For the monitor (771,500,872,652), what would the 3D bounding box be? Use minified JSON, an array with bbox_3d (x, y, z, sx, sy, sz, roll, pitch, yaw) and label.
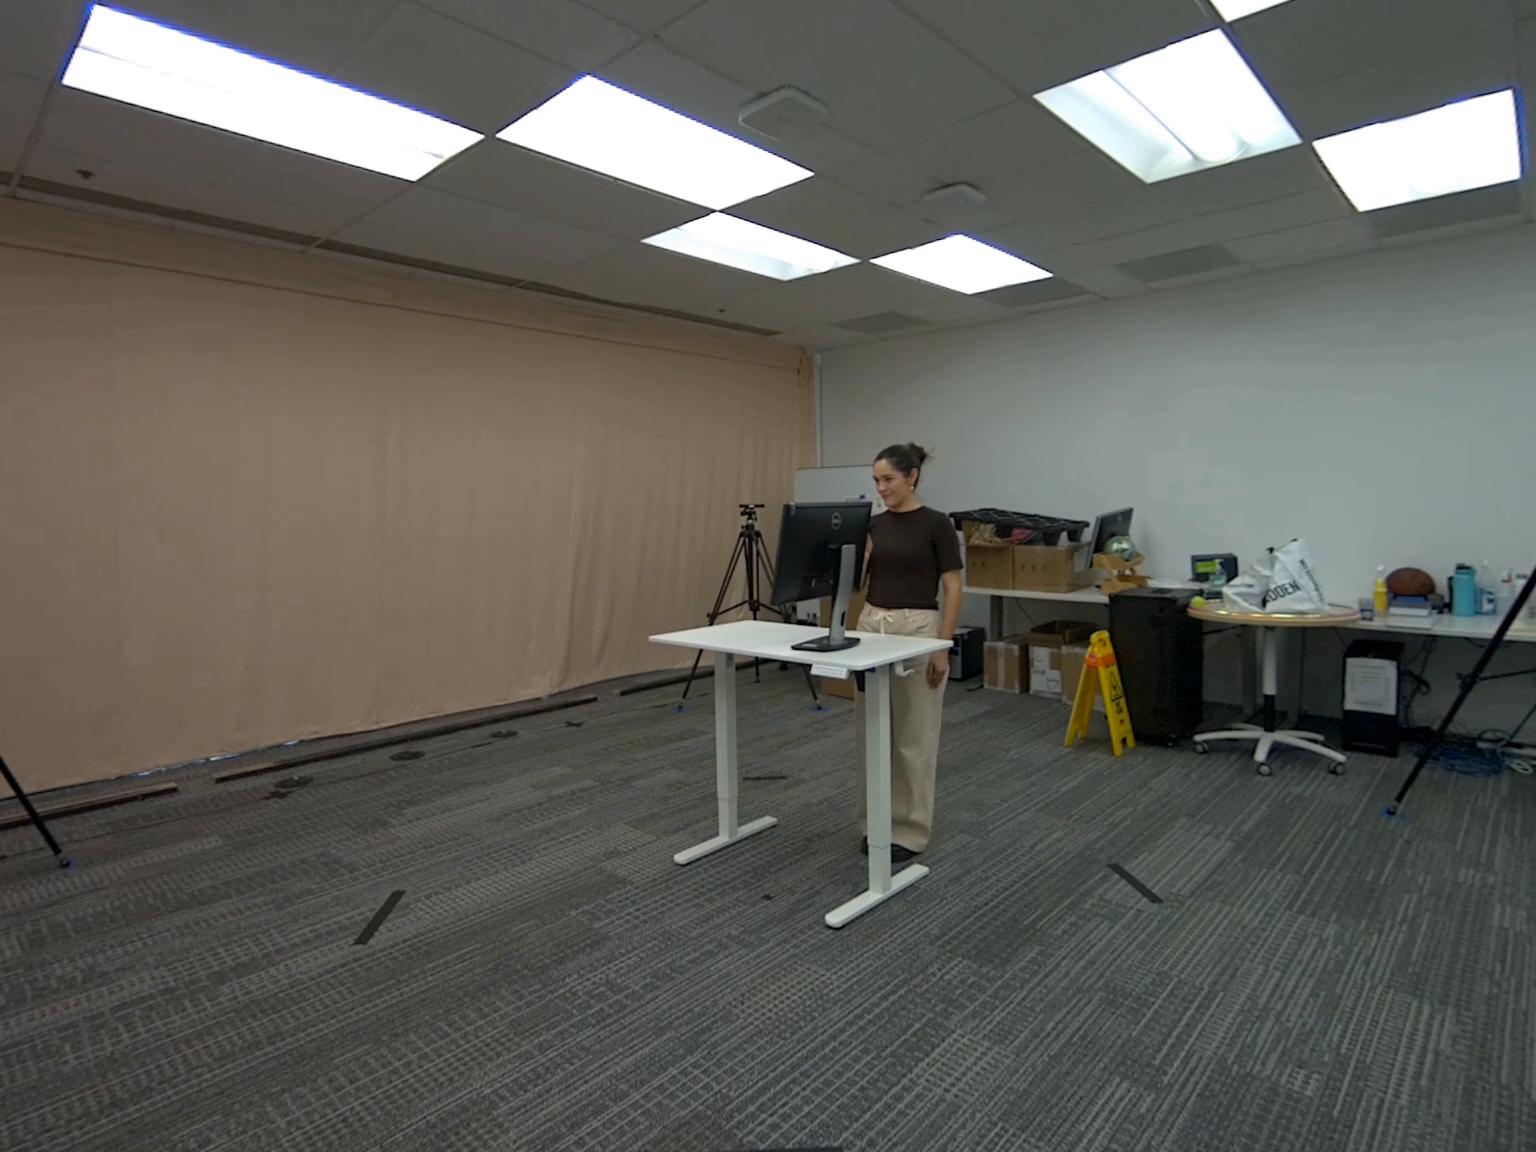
[{"bbox_3d":[0.226,-0.001,2.995,0.193,0.522,0.523,0,4,41],"label":"monitor"}]
